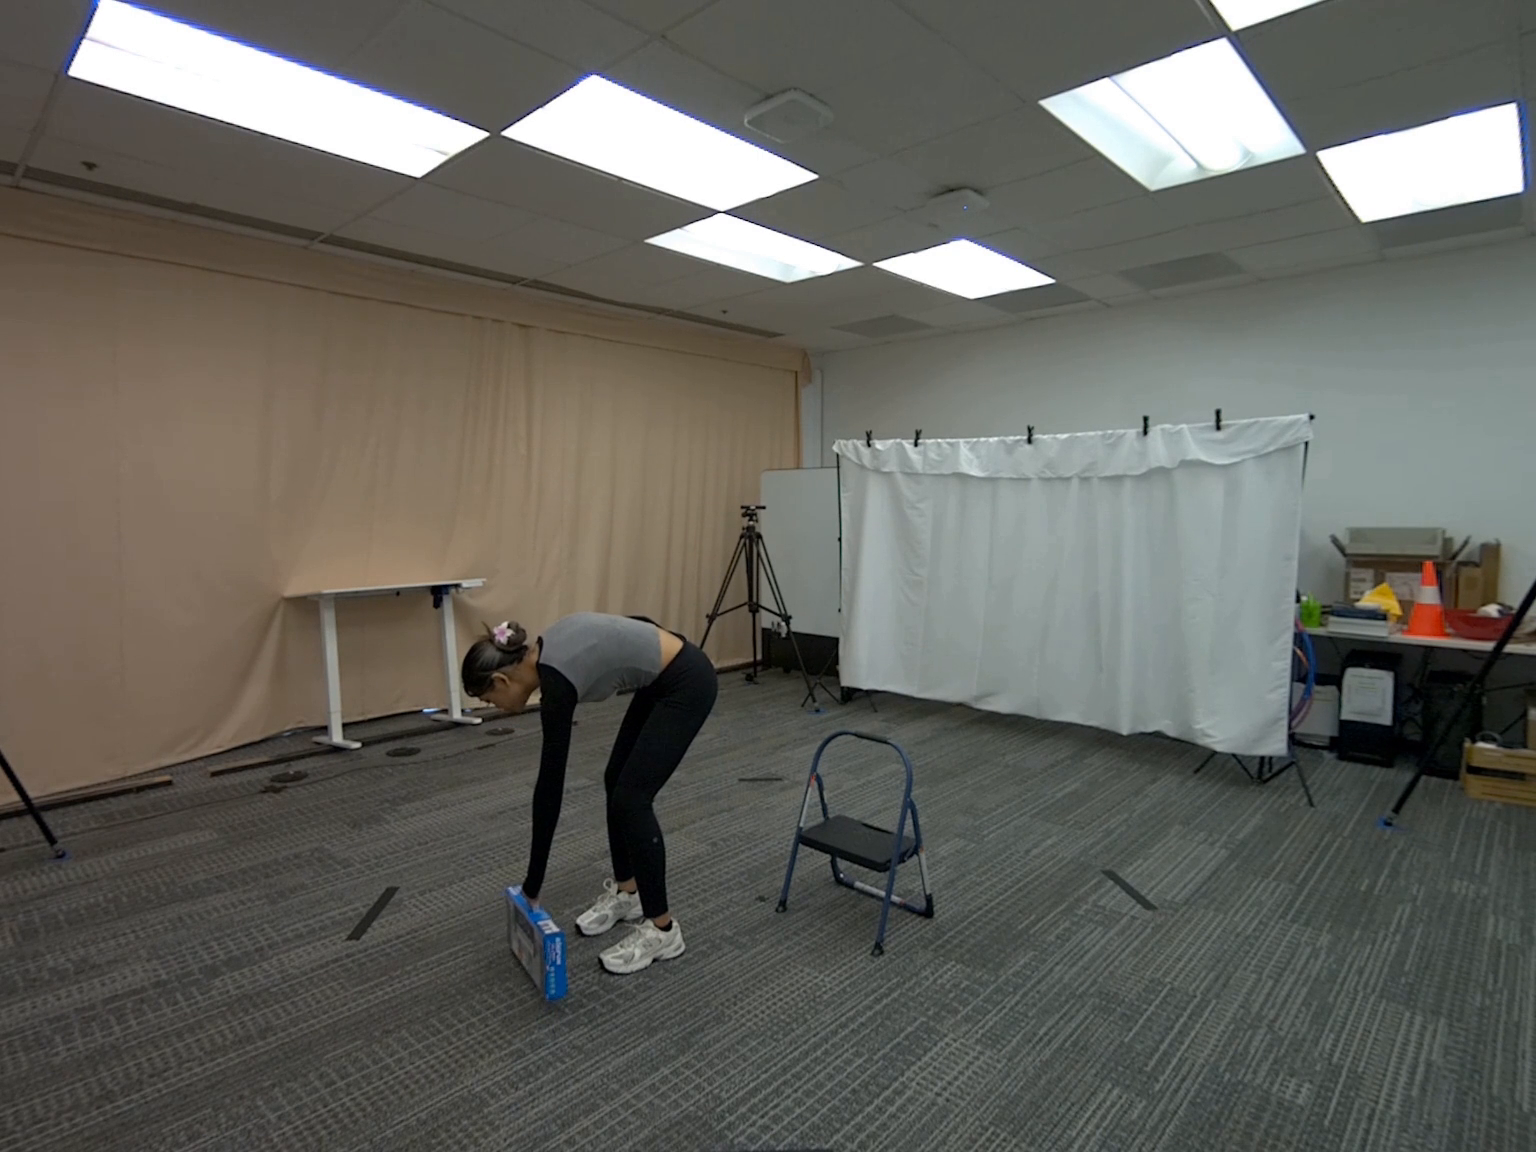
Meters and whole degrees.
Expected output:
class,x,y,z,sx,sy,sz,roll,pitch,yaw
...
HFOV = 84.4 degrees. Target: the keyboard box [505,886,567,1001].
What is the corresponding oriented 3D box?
class,x,y,z,sx,sy,sz,roll,pitch,yaw
keyboard box,-0.689,1.065,2.479,0.057,0.176,0.448,-1,-1,-30
